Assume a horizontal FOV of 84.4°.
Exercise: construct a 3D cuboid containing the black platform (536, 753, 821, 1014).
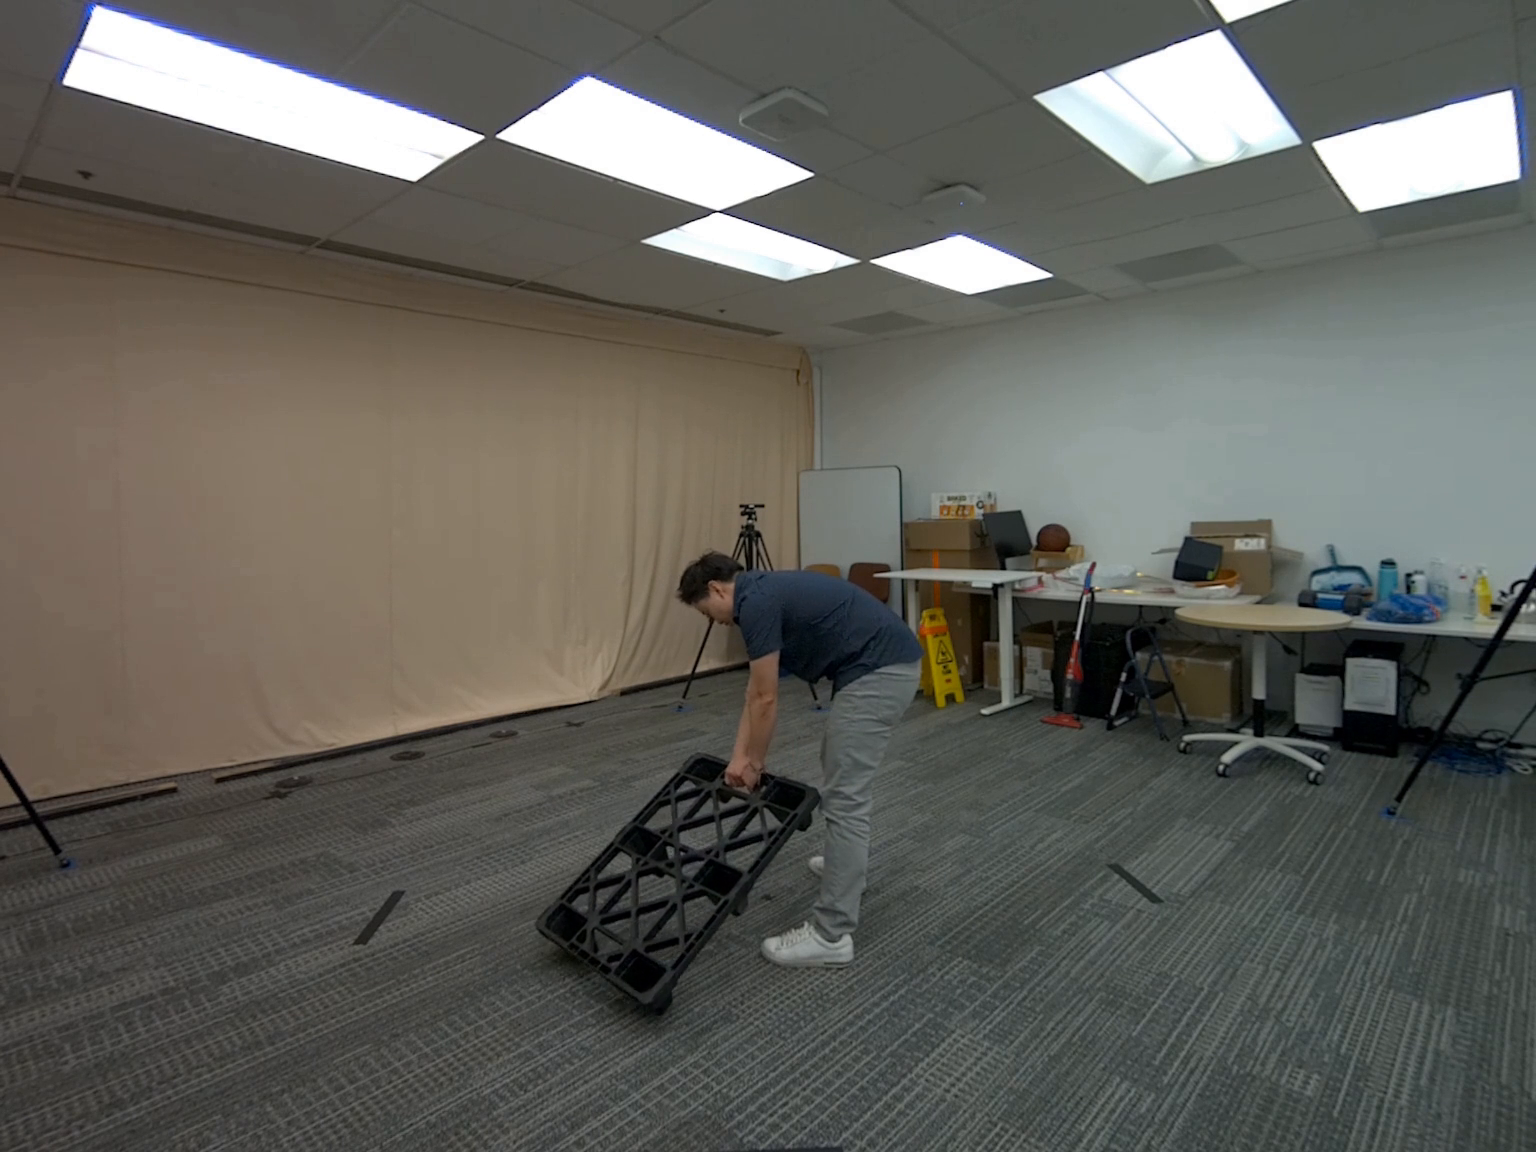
[{"bbox_3d":[-0.253,0.929,2.653,0.625,0.140,0.797,5,39,46],"label":"black platform"}]
